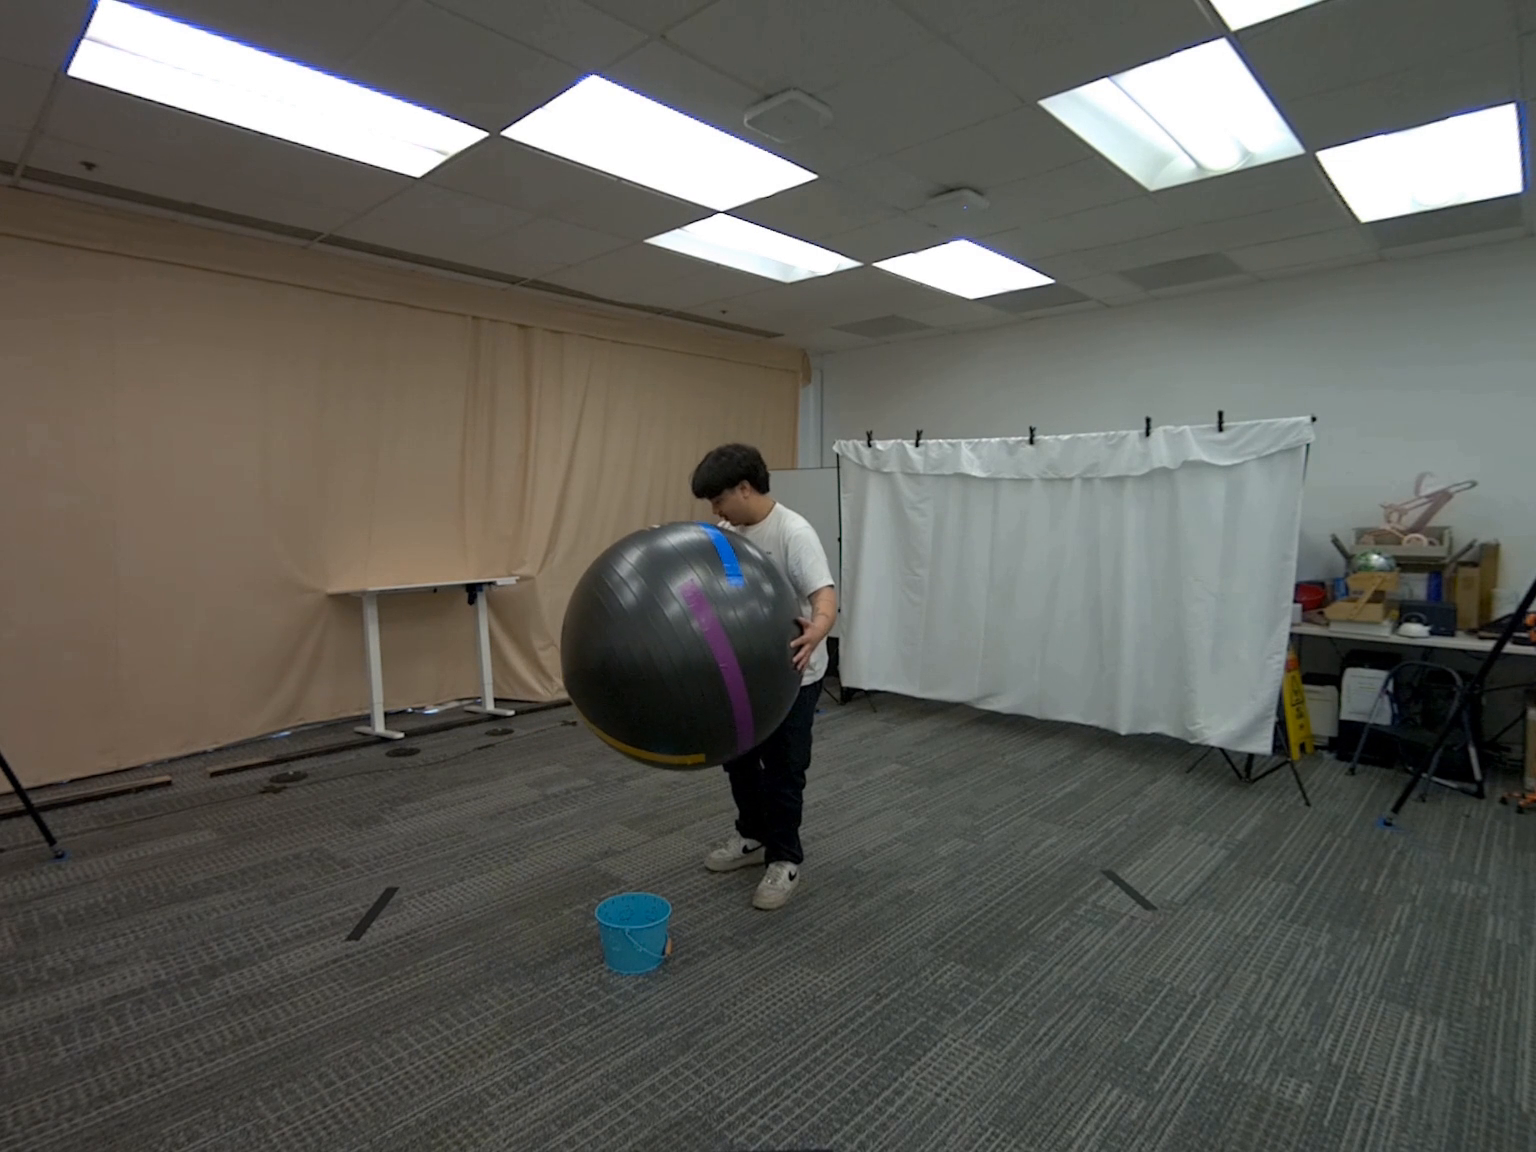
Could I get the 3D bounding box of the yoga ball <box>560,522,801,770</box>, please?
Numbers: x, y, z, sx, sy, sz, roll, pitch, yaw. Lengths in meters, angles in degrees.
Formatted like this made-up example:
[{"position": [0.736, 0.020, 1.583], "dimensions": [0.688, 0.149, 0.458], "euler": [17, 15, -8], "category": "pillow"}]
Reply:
[{"position": [-0.262, 0.219, 2.607], "dimensions": [0.757, 0.756, 0.760], "euler": [0, 4, -2], "category": "yoga ball"}]
